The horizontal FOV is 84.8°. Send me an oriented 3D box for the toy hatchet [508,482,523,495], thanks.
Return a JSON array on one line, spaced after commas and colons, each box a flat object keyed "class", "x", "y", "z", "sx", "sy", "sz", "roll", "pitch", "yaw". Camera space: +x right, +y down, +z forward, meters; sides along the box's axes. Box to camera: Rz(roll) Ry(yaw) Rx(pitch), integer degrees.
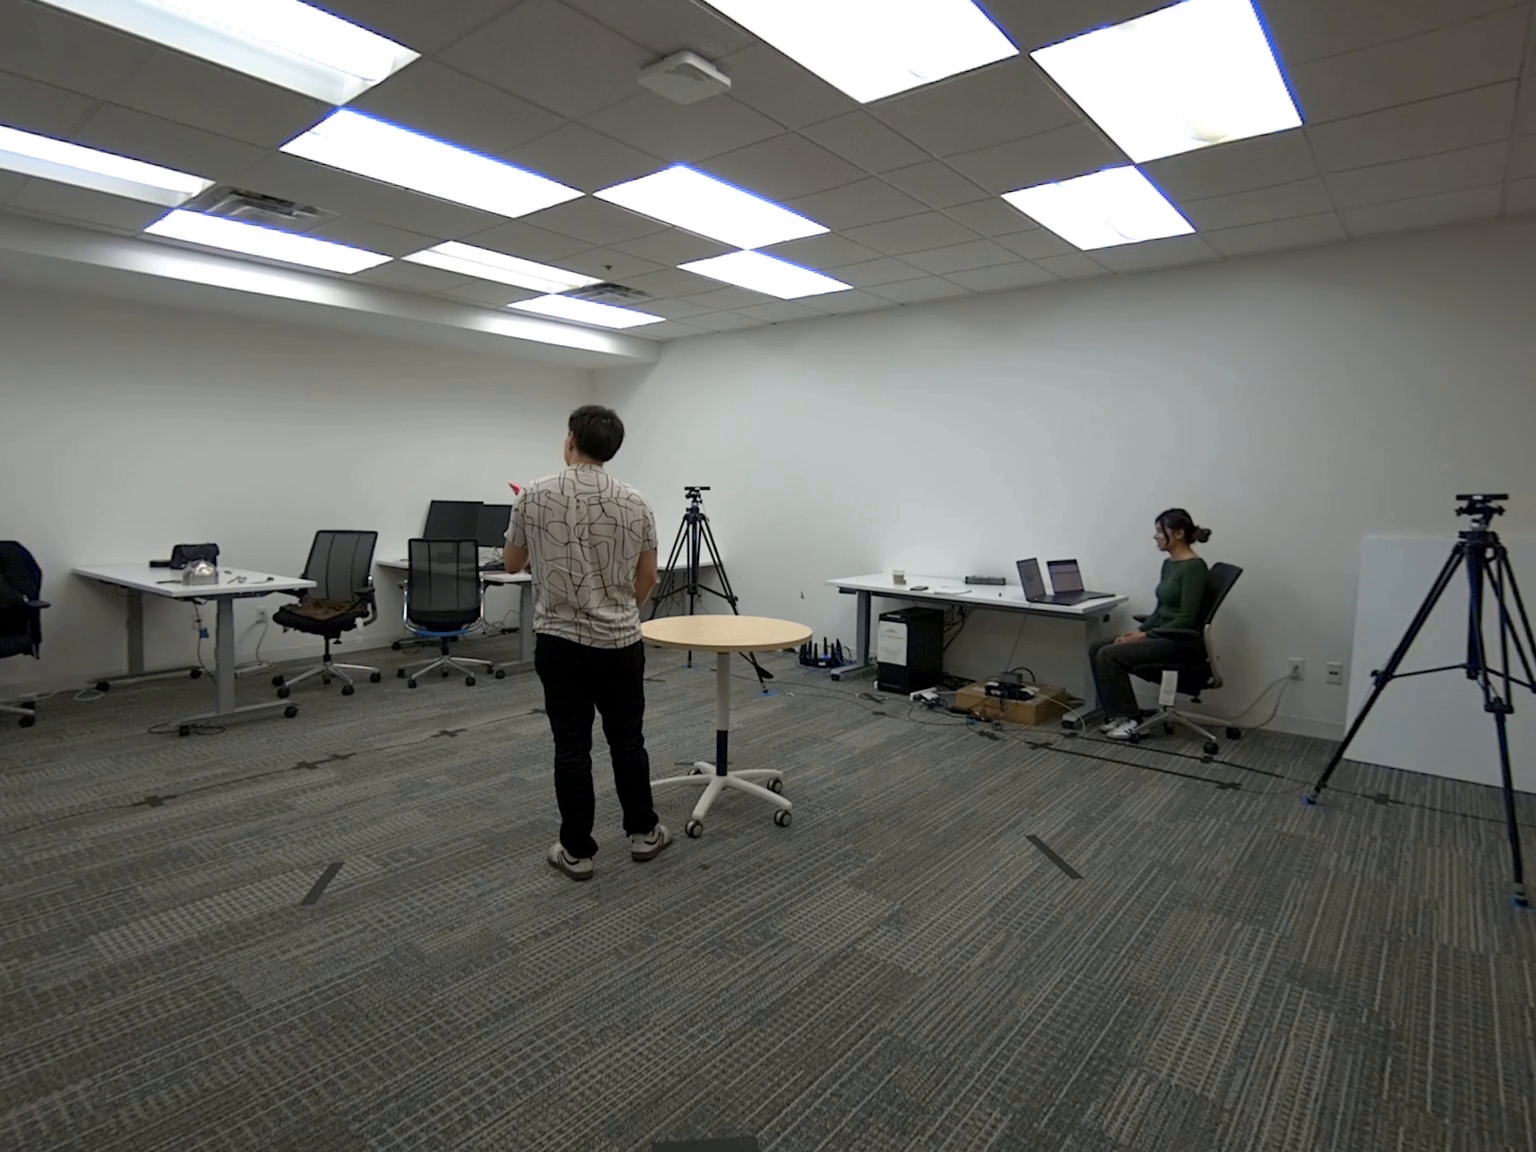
[{"class": "toy hatchet", "x": -0.982, "y": -0.259, "z": 3.424, "sx": 0.029, "sy": 0.278, "sz": 0.127, "roll": -34, "pitch": -23, "yaw": 6}]
